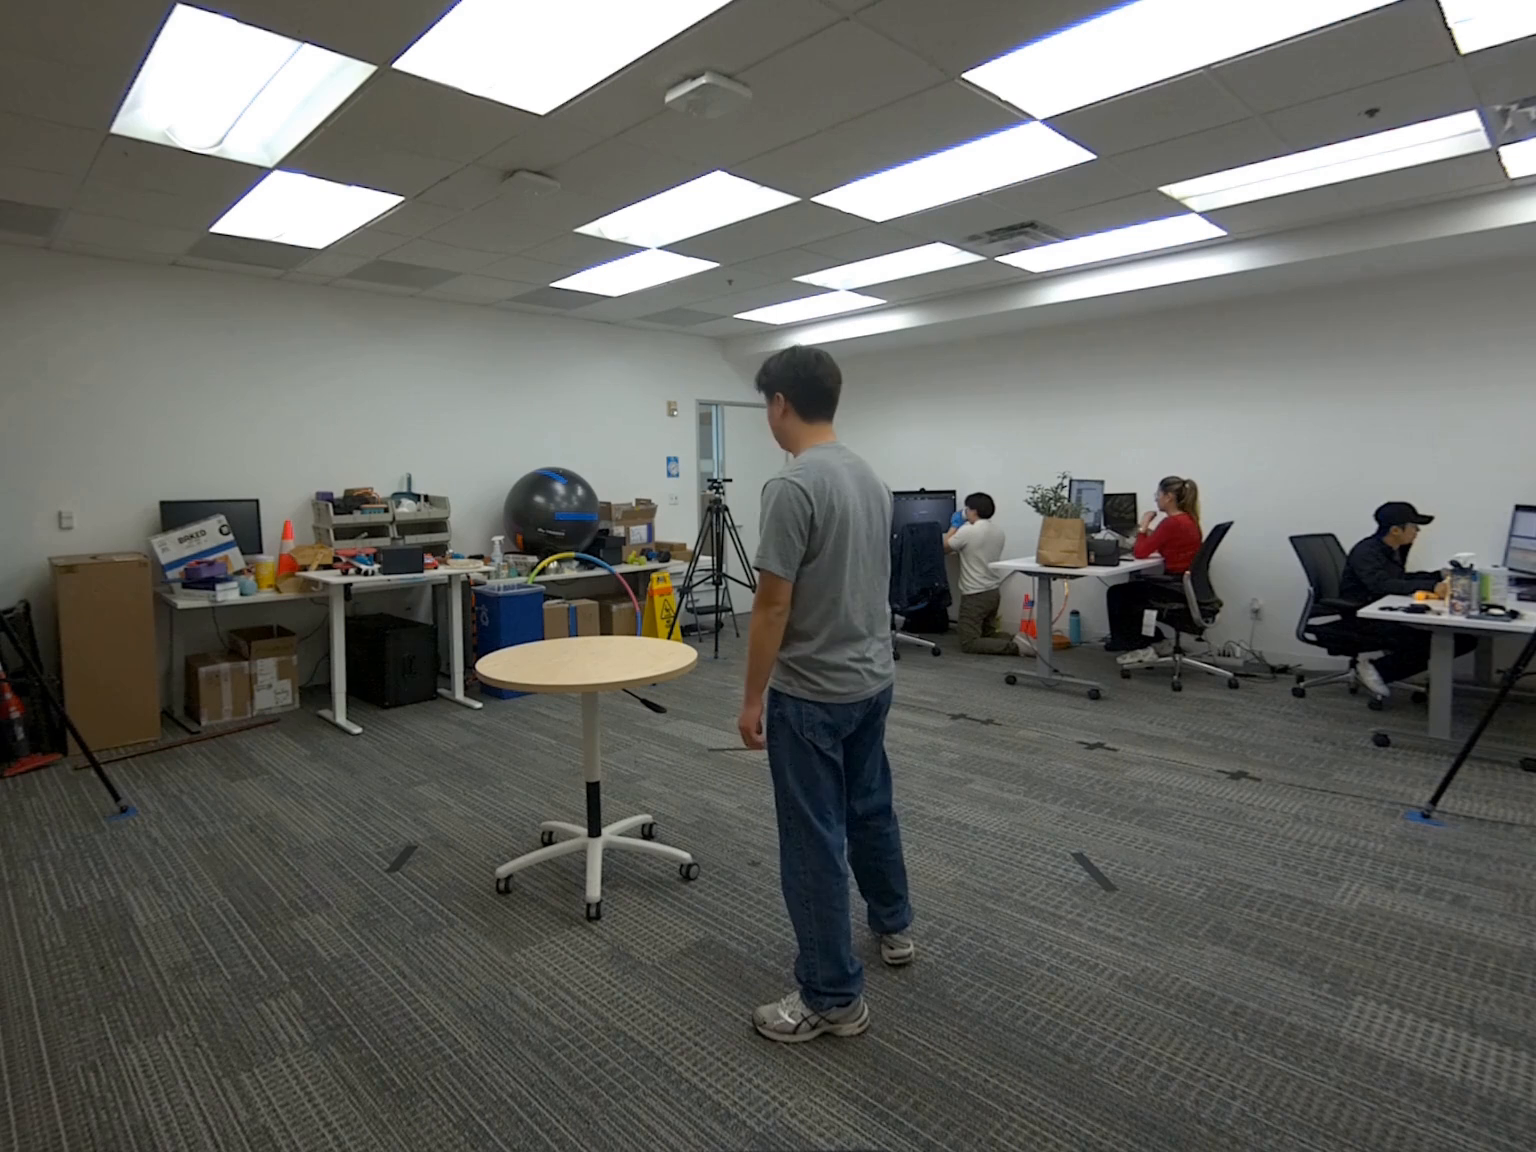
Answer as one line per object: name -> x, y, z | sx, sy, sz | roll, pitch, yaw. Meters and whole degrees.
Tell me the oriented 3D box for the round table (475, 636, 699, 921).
round table -> -0.614, 0.678, 3.026 | 0.763, 0.790, 0.768 | -2, 5, -2
